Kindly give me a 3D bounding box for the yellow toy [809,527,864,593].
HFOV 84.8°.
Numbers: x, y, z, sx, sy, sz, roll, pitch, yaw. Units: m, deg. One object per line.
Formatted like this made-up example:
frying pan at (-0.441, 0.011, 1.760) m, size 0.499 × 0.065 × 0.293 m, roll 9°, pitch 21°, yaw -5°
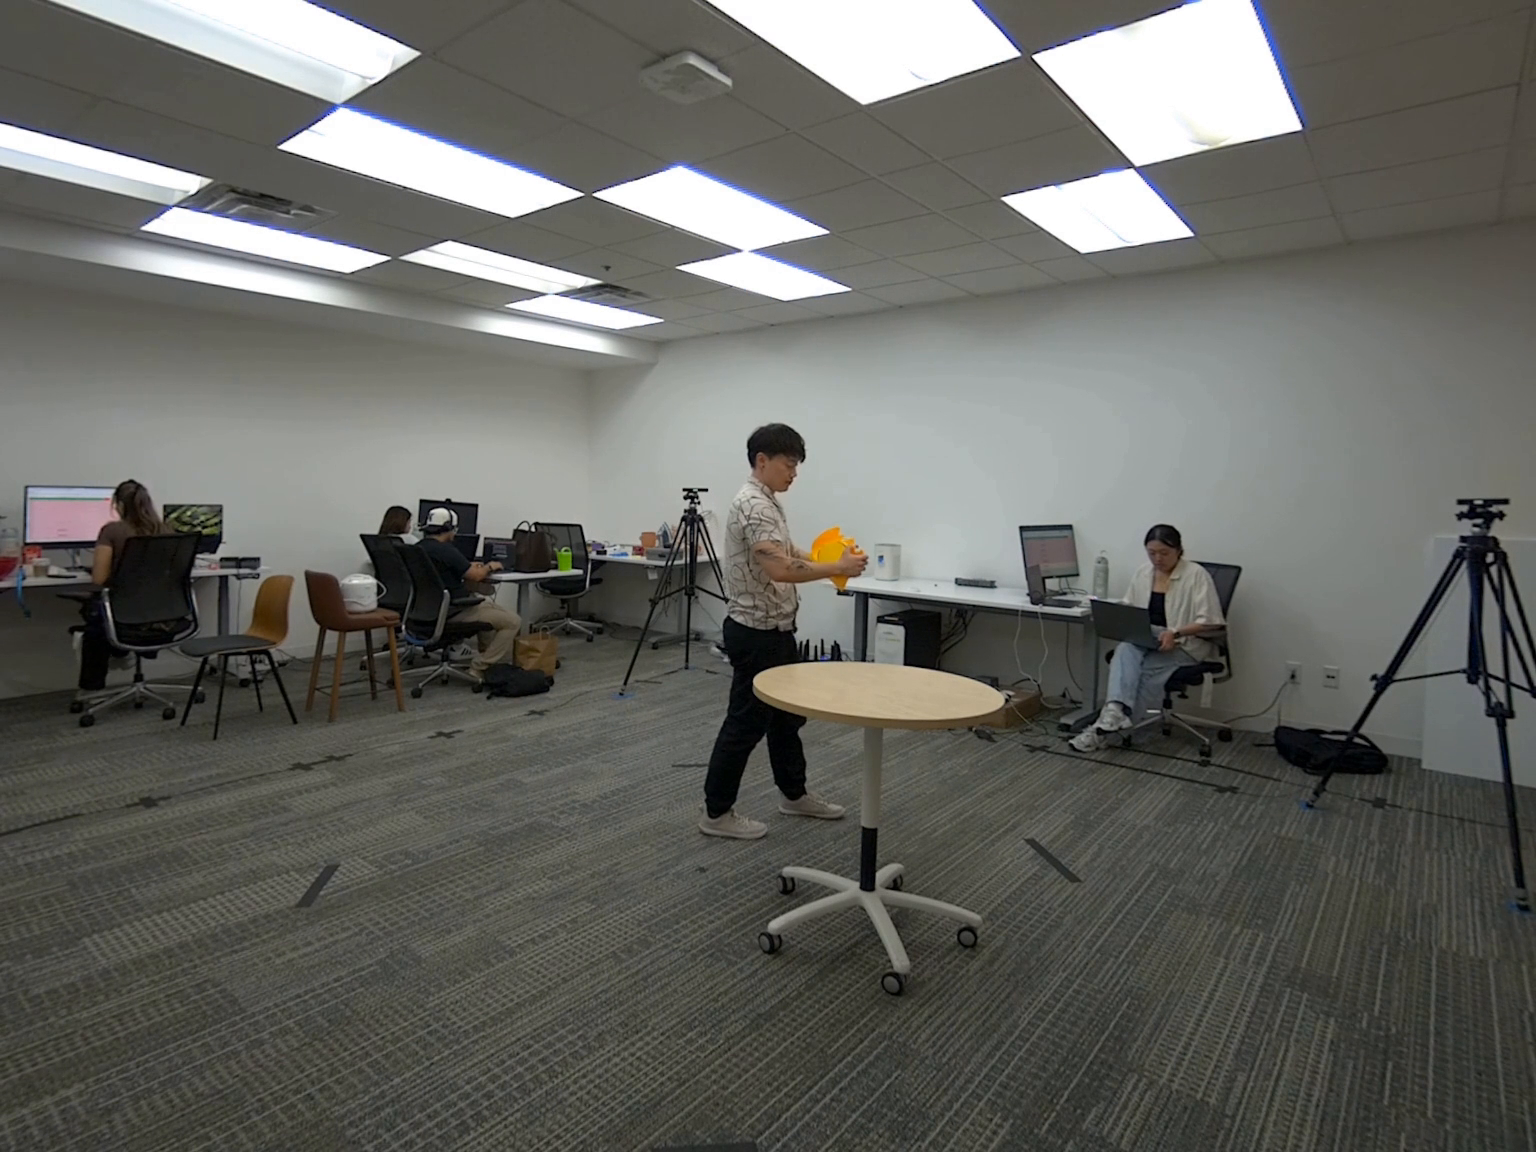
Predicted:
yellow toy at (0.276, -0.079, 3.368) m, size 0.209 × 0.193 × 0.225 m, roll 45°, pitch 8°, yaw 14°
